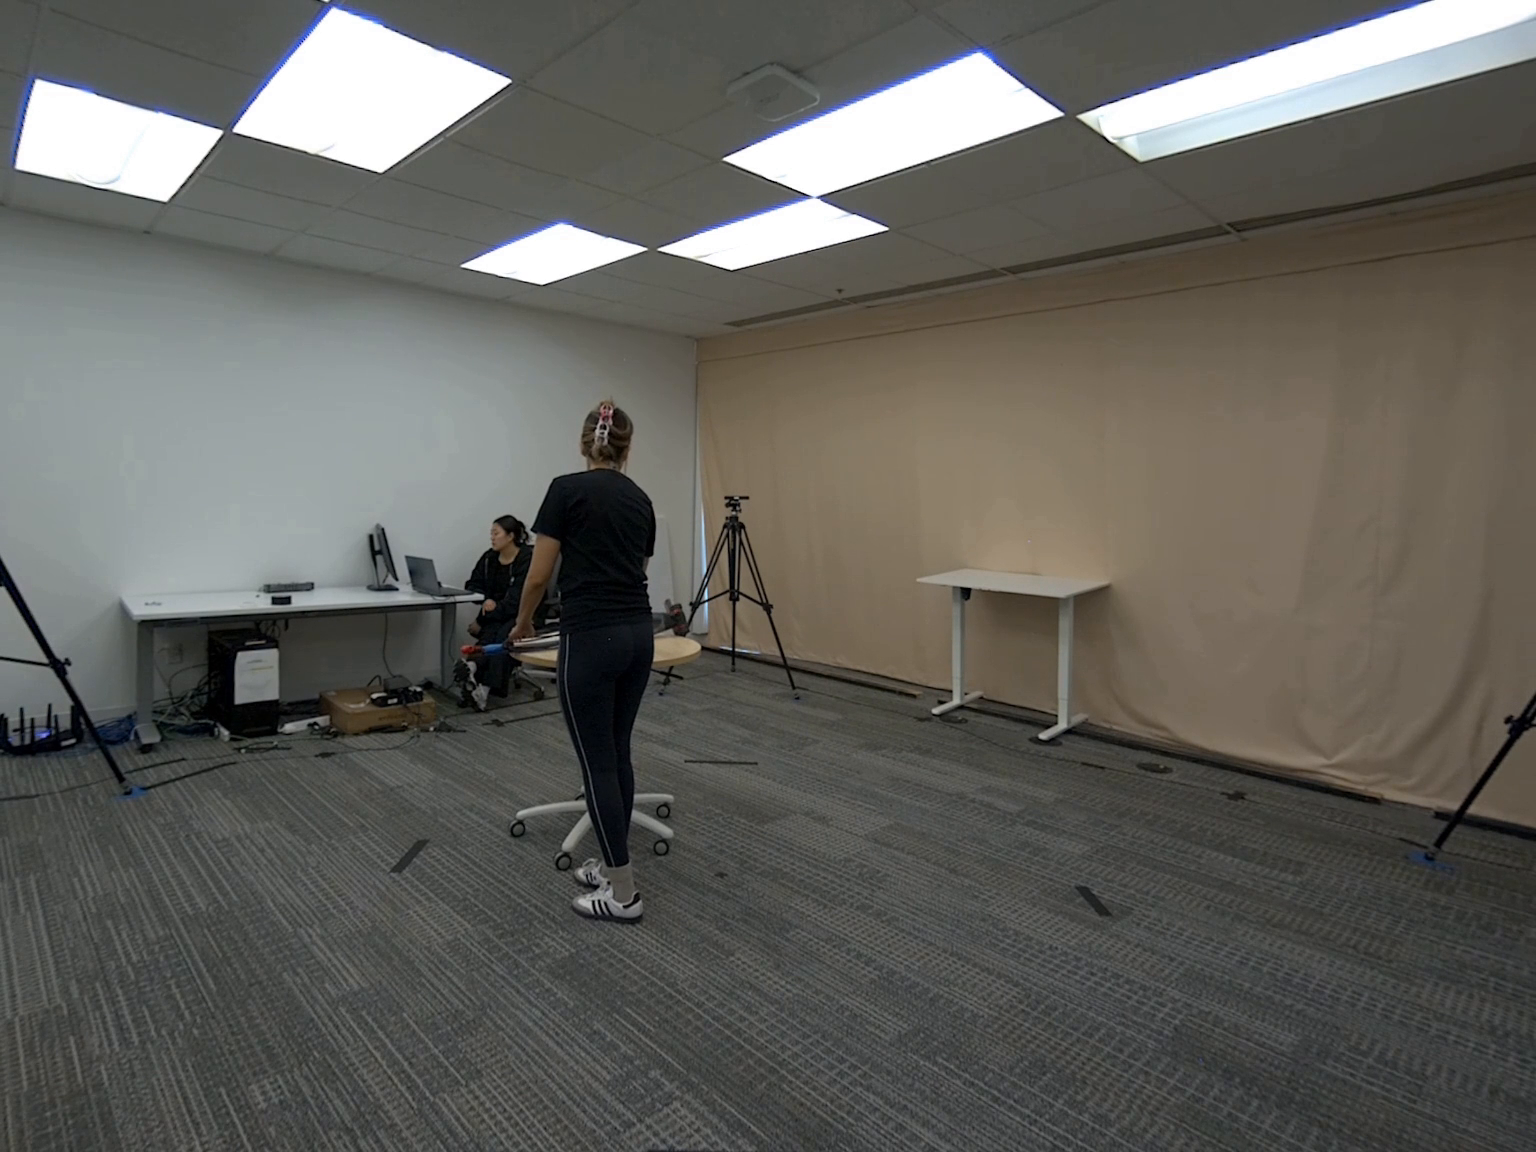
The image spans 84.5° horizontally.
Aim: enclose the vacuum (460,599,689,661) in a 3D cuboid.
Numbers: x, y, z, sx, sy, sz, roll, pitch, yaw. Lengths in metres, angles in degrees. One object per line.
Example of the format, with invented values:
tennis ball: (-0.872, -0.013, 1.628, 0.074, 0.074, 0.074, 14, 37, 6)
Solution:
vacuum: (-0.737, 0.246, 3.405, 1.026, 0.256, 0.145, -5, -23, -46)
